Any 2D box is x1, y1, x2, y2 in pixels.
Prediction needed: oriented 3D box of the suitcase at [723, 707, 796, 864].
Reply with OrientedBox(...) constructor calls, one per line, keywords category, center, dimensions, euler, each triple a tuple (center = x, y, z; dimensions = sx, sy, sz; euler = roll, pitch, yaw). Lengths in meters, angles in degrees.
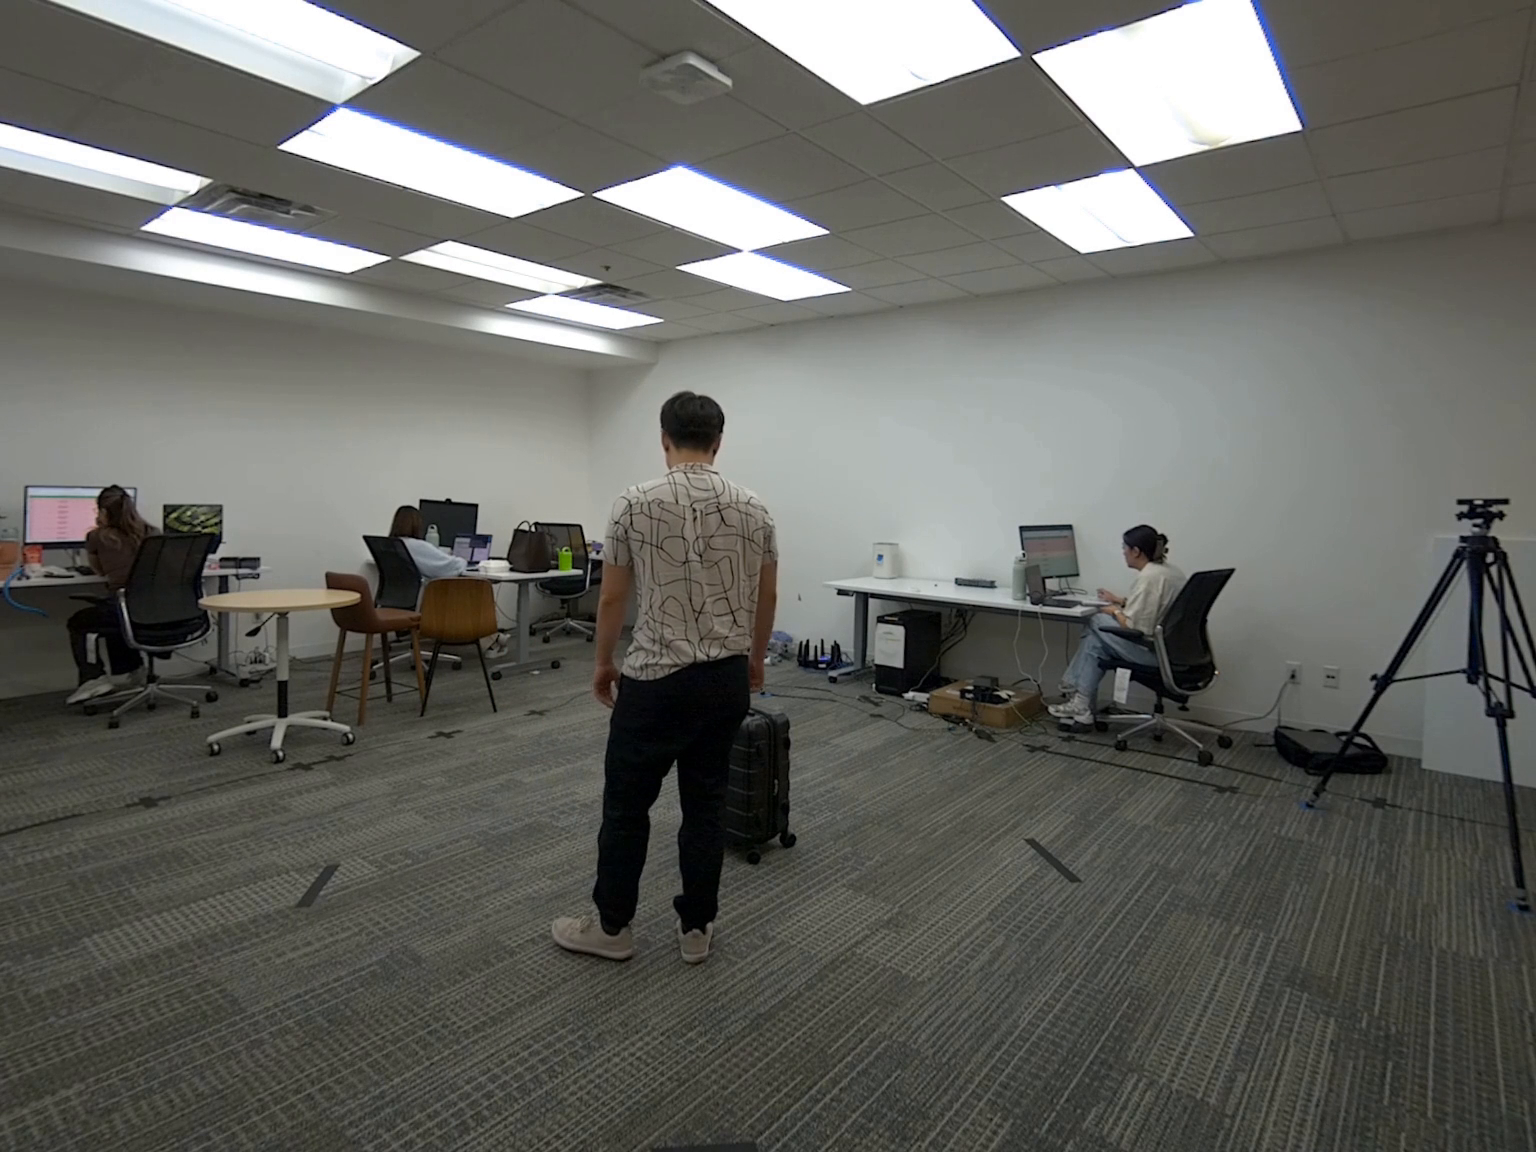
OrientedBox(category="suitcase", center=(-0.116, 0.771, 3.348), dimensions=(0.388, 0.548, 0.241), euler=(3, 4, 45))
